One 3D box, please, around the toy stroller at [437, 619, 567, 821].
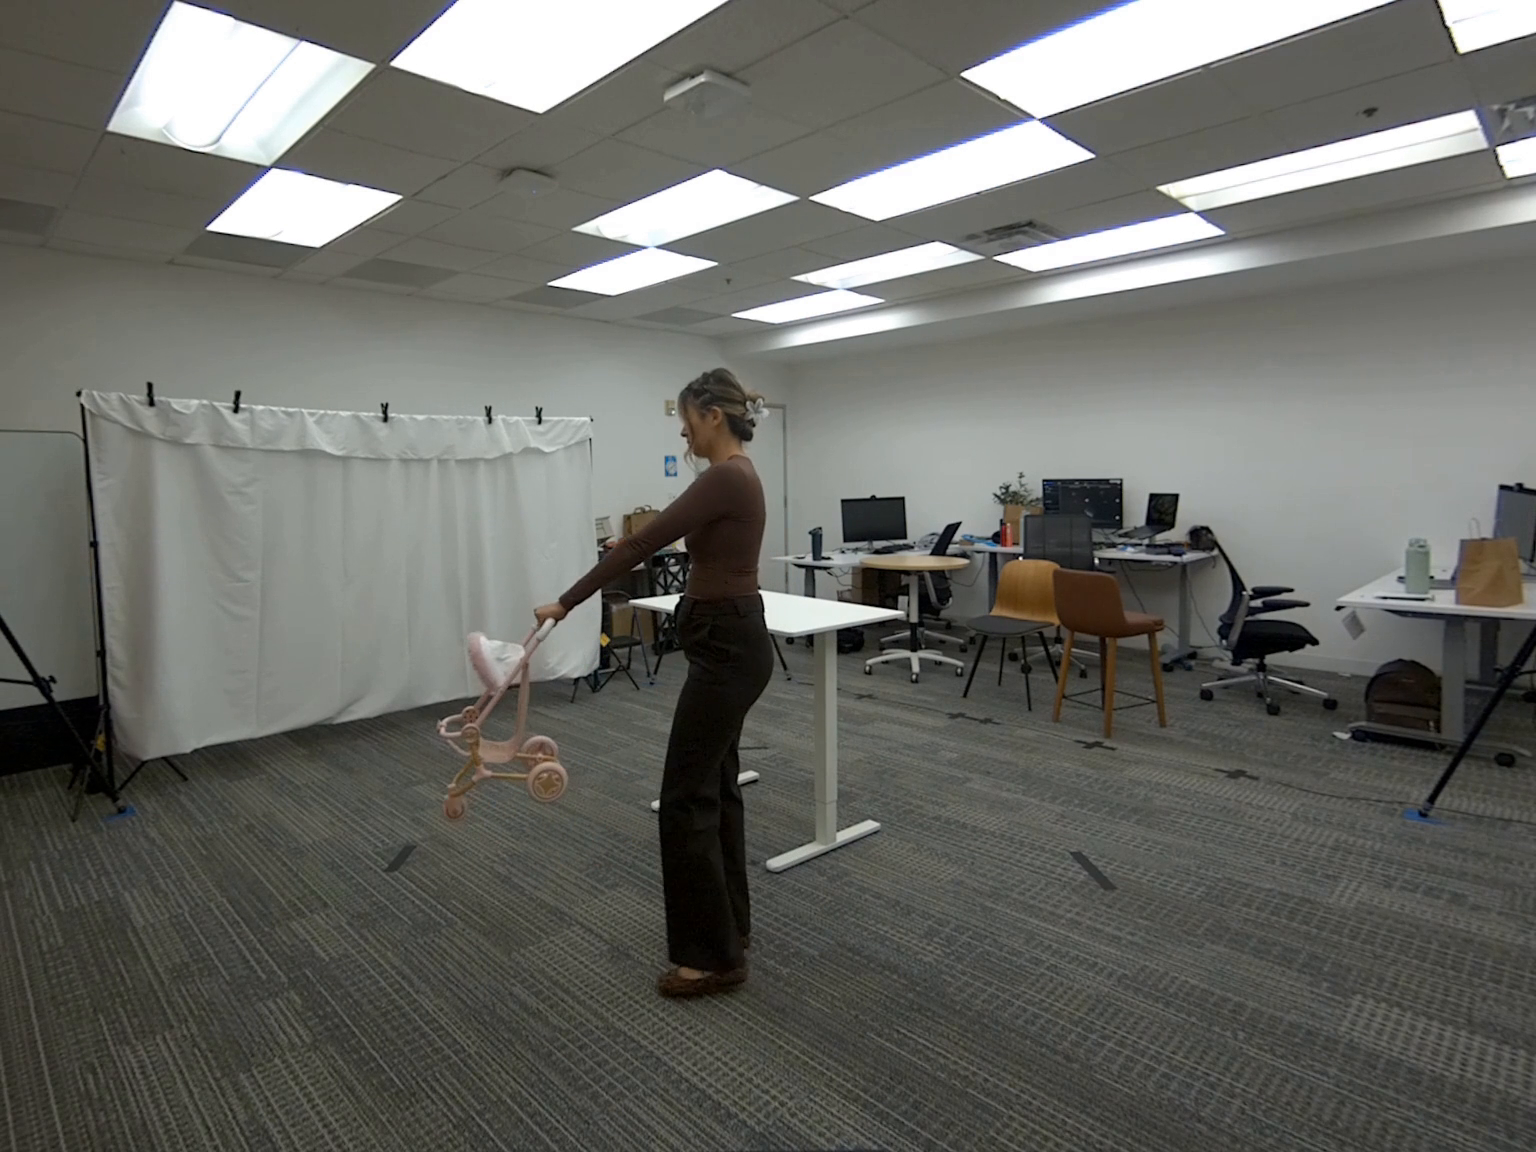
[{"bbox_3d":[-0.730,0.388,2.327,0.338,0.532,0.286,-4,6,-12],"label":"toy stroller"}]
